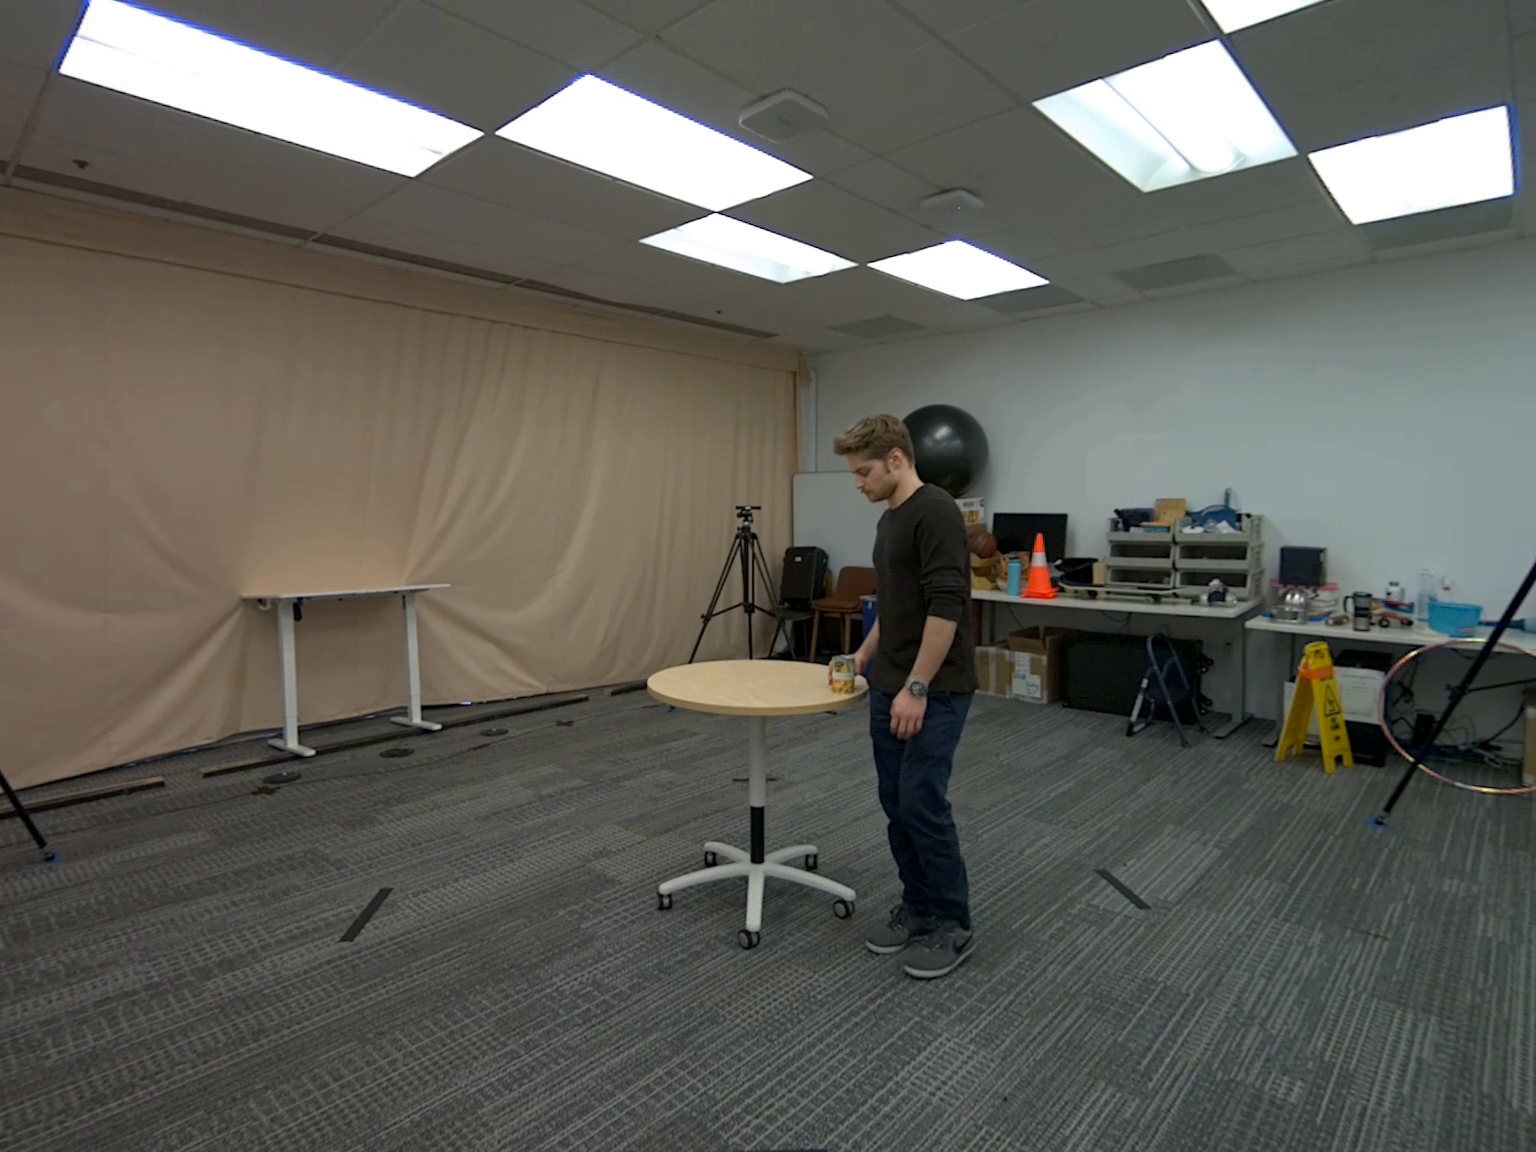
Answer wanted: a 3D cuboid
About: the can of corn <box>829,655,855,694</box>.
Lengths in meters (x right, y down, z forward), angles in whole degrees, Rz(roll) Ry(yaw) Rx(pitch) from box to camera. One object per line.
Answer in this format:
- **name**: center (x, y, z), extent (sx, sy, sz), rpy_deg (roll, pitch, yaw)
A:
- **can of corn**: center (0.258, 0.327, 2.768), extent (0.074, 0.111, 0.074), rpy_deg (0, 1, -2)
